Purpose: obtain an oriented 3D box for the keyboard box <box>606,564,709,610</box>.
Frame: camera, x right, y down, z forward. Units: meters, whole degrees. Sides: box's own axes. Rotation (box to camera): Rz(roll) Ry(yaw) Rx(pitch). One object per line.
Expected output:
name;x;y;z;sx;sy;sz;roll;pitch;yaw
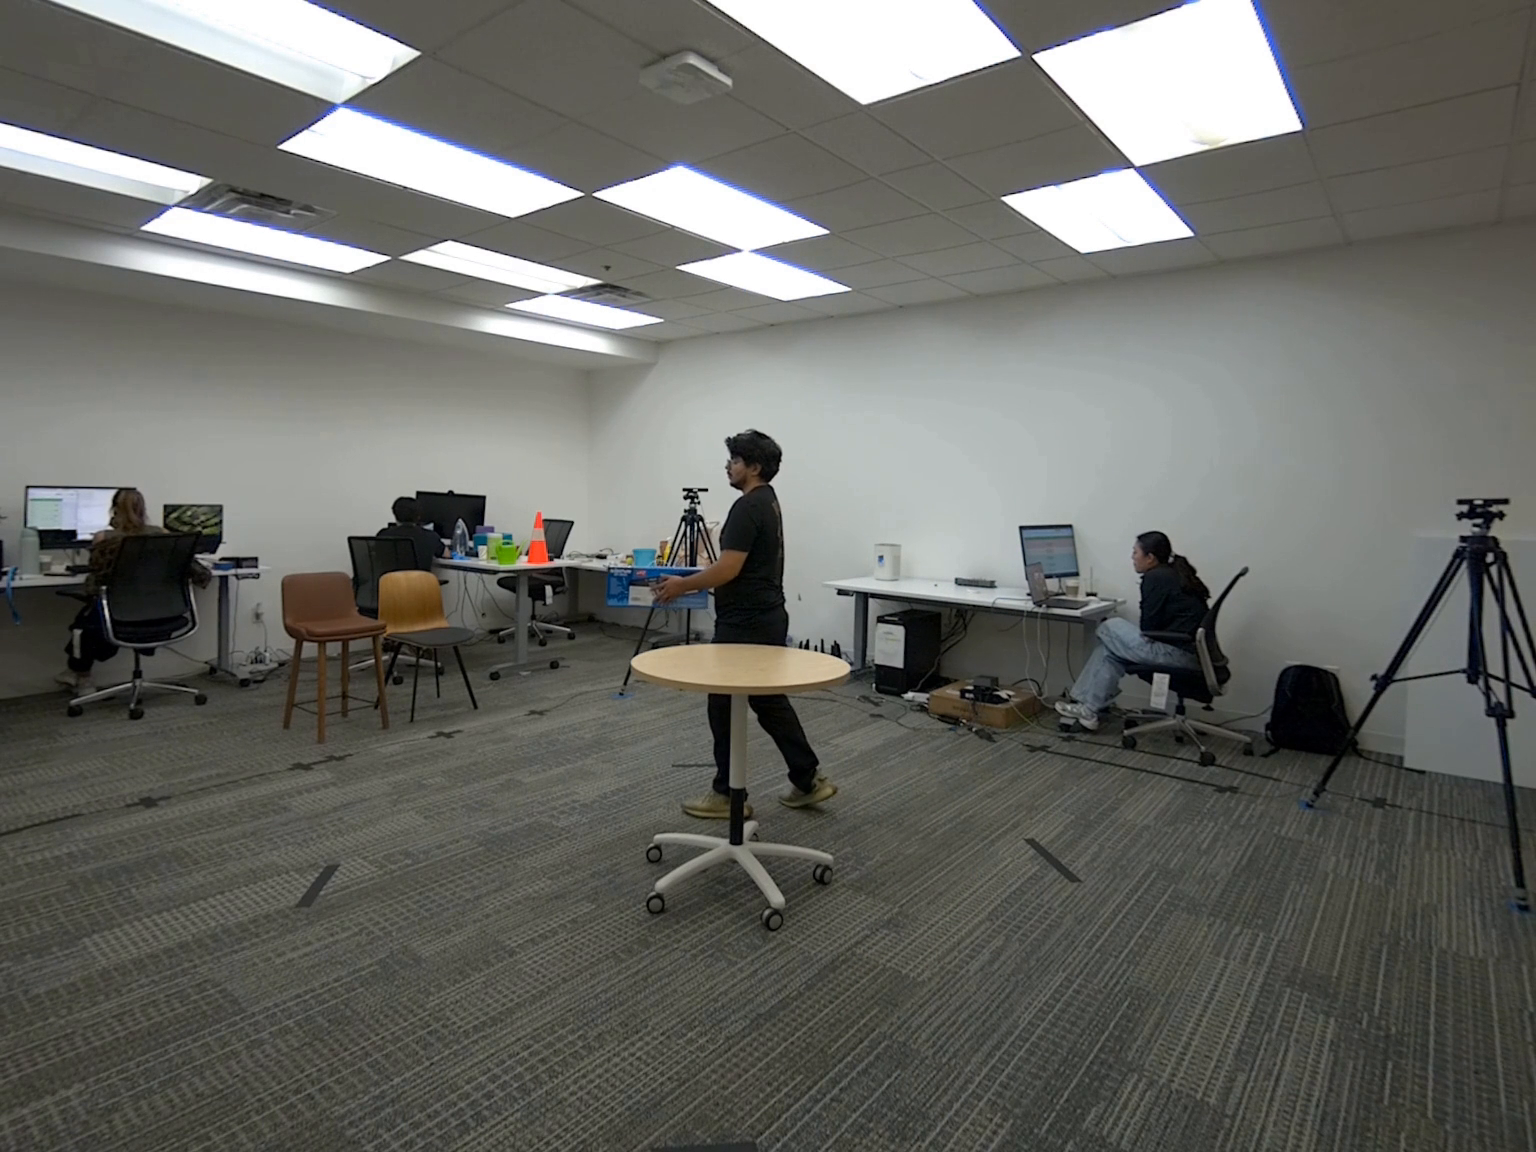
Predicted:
keyboard box;-0.482;0.045;3.669;0.434;0.175;0.060;2;4;-6
